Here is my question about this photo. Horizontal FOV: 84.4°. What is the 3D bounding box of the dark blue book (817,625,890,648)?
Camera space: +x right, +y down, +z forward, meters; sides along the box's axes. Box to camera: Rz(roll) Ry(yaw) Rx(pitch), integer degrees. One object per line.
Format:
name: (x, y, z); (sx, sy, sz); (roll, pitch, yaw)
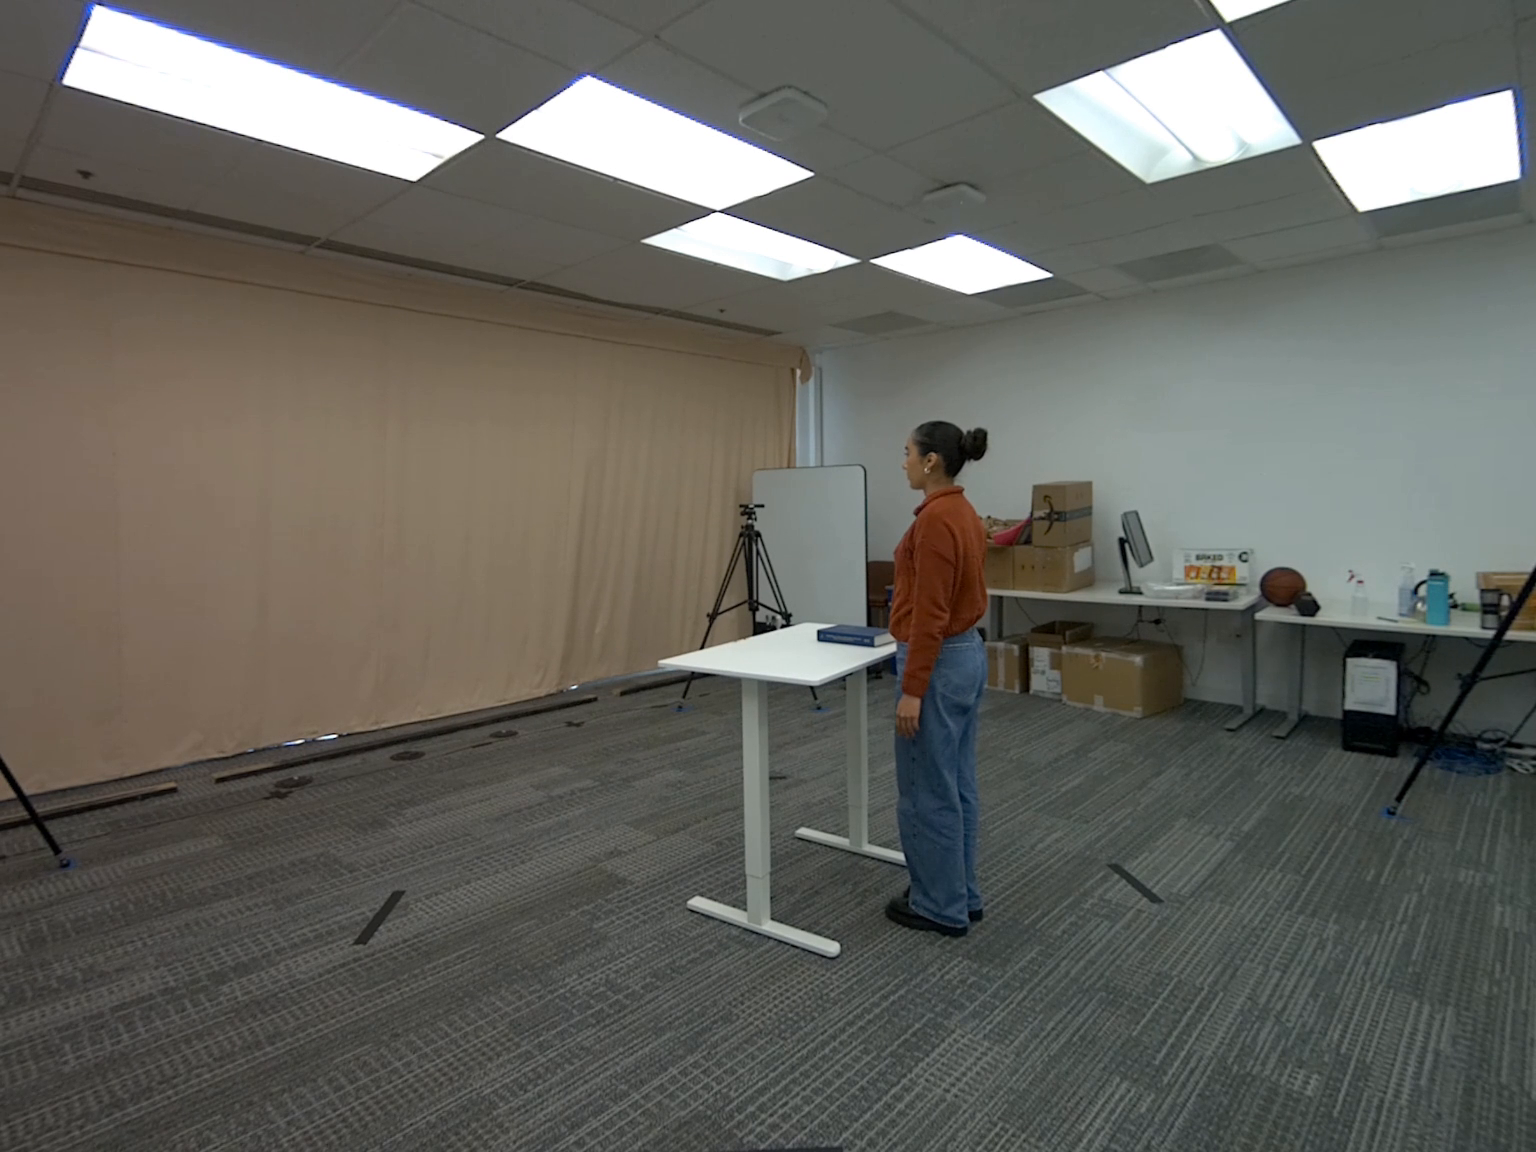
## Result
dark blue book: (0.326, 0.223, 3.094); (0.253, 0.045, 0.159); (3, 7, 39)
